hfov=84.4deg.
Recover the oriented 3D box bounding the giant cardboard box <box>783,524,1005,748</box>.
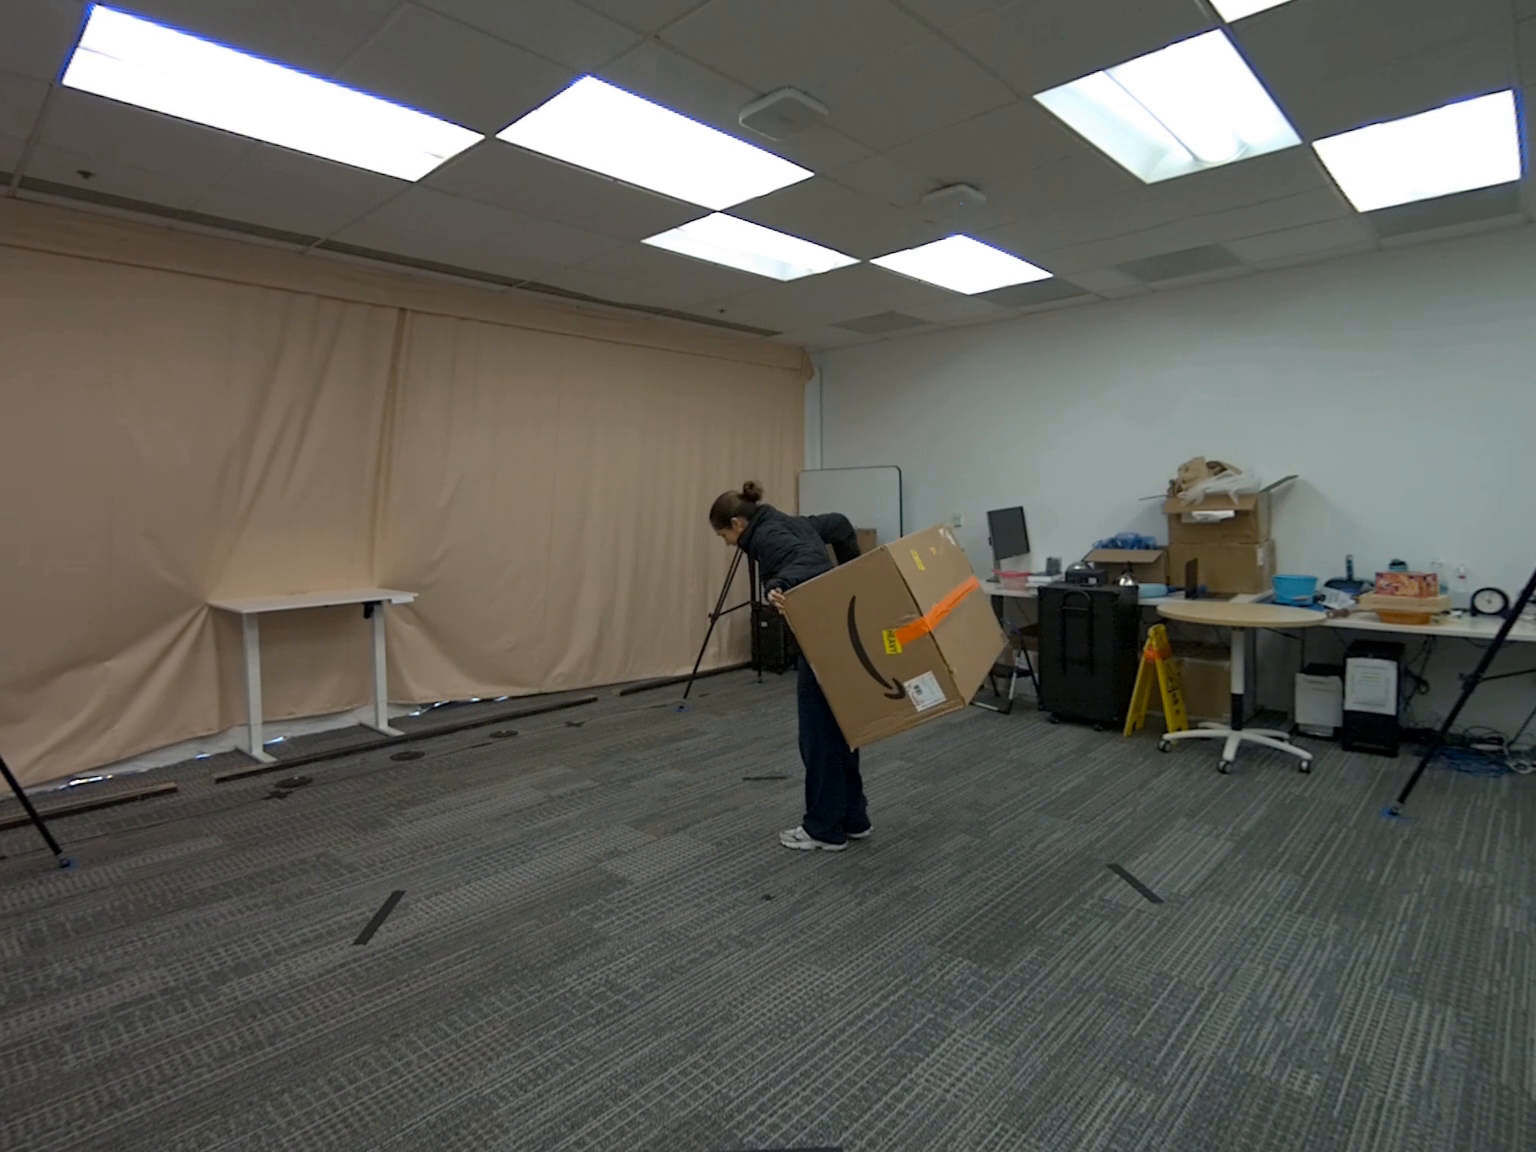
[{"bbox_3d":[0.539,0.177,3.216,0.433,0.580,1.005,-27,-4,25],"label":"giant cardboard box"}]
